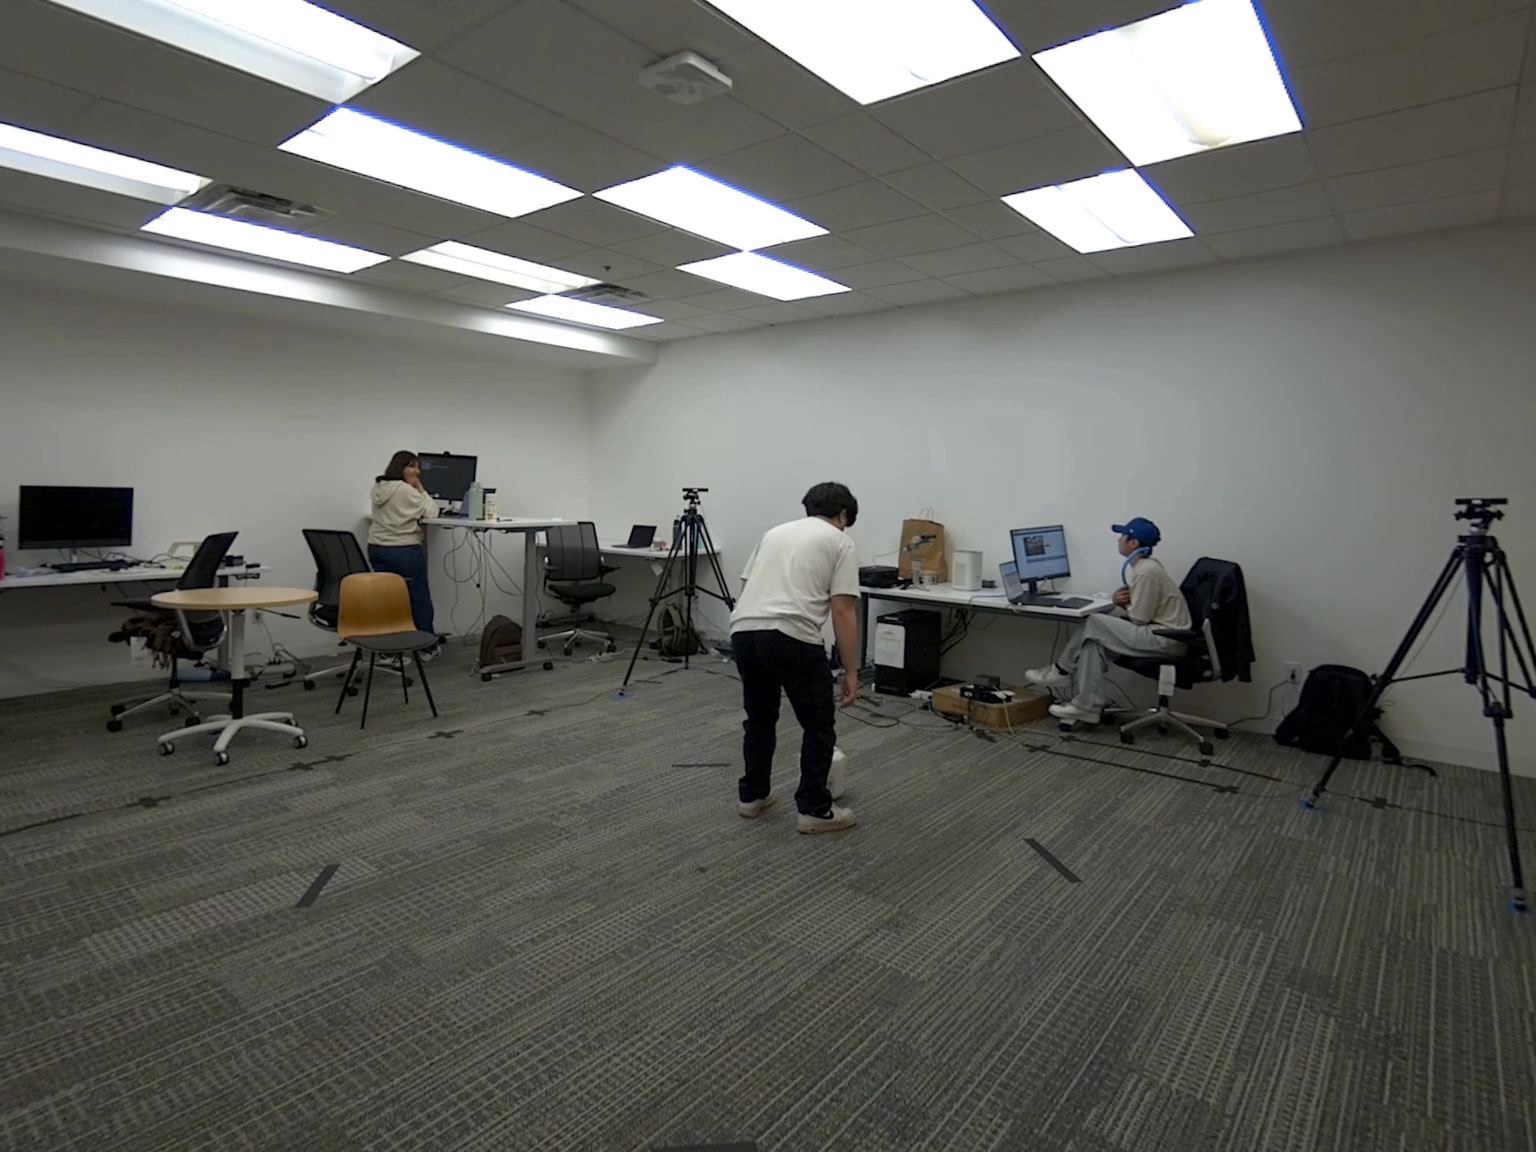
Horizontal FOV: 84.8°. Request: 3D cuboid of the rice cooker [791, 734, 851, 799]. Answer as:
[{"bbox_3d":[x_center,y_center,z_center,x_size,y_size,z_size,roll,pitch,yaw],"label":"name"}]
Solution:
[{"bbox_3d":[0.240,0.879,3.898,0.219,0.232,0.220,0,3,-9],"label":"rice cooker"}]
